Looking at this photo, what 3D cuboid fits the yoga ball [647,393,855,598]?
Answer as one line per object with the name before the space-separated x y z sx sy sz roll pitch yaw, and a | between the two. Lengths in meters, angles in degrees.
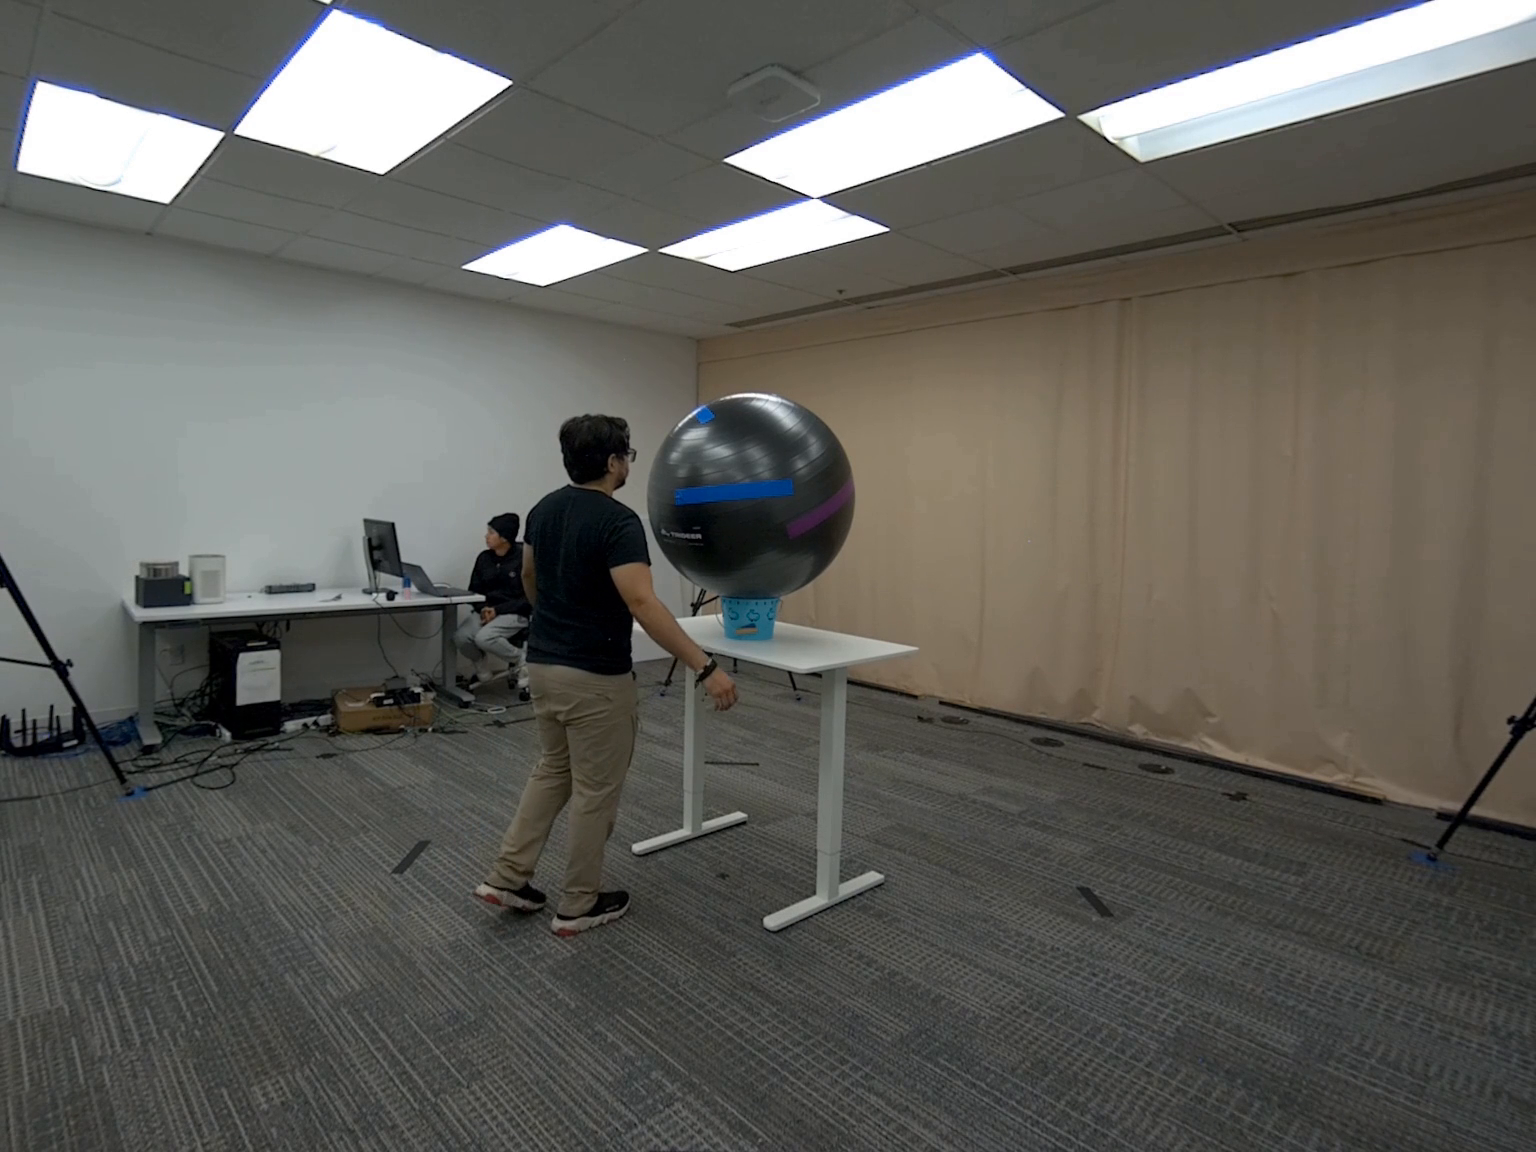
yoga ball | -0.063 -0.282 3.076 0.757 0.756 0.761 1 4 -1
